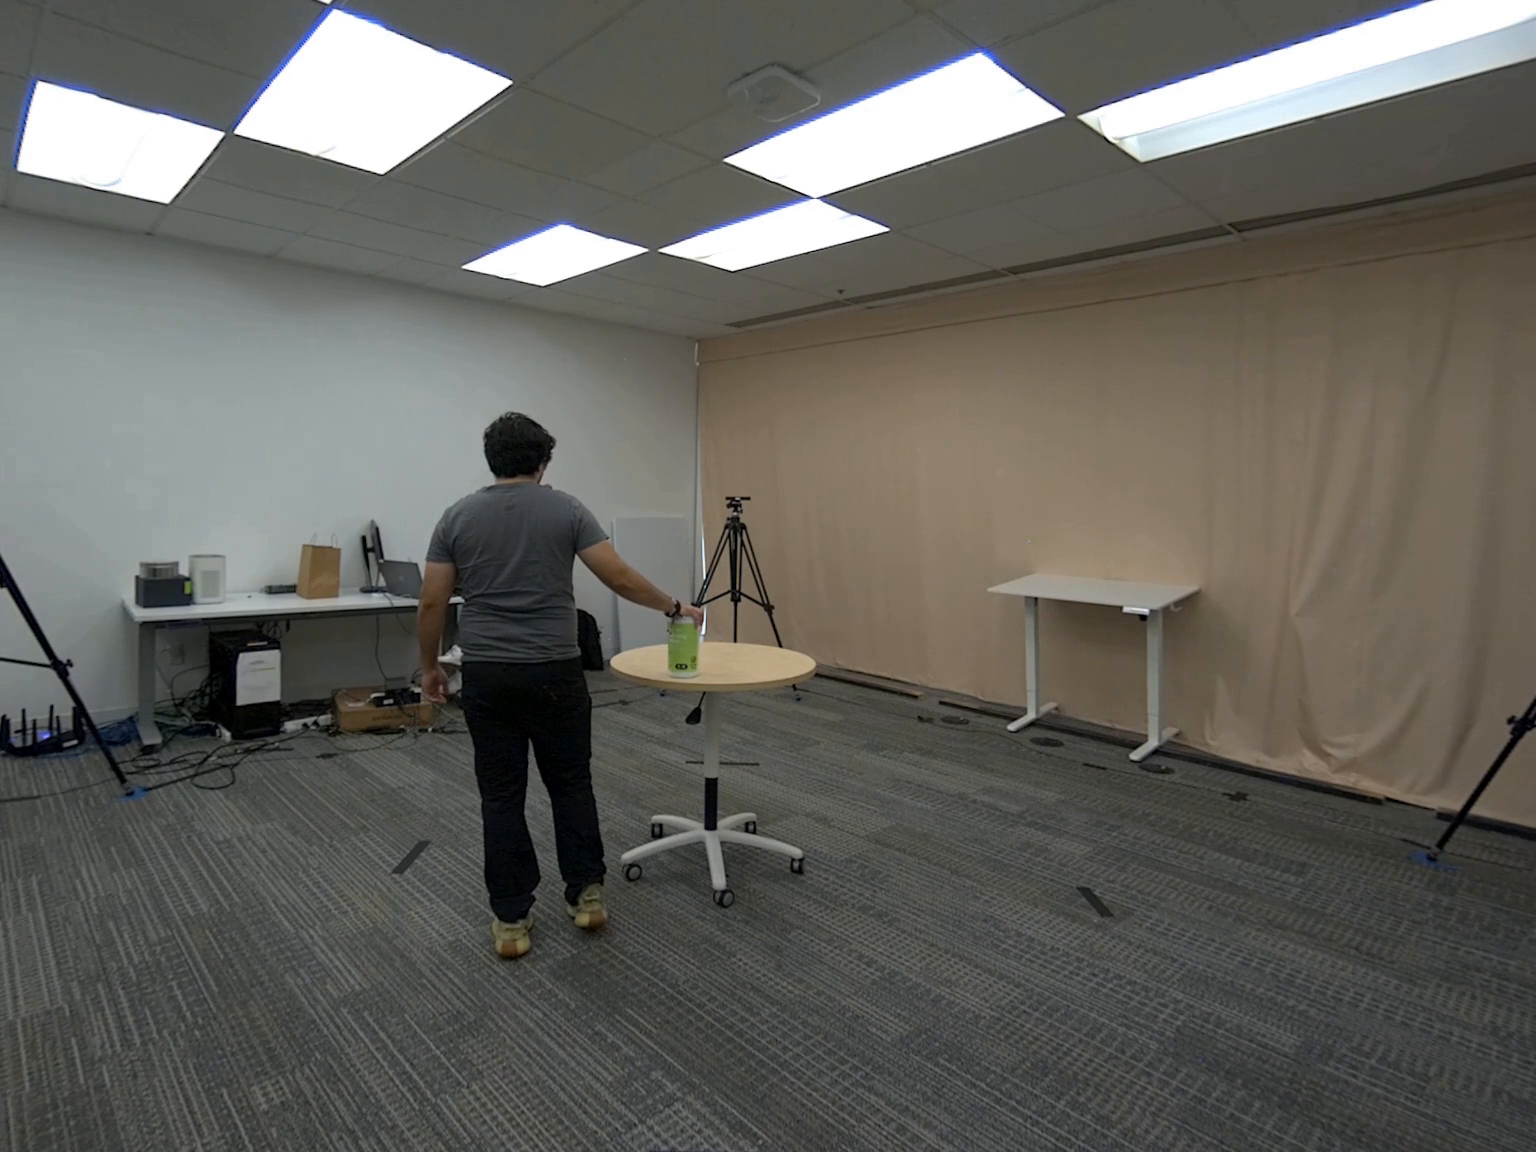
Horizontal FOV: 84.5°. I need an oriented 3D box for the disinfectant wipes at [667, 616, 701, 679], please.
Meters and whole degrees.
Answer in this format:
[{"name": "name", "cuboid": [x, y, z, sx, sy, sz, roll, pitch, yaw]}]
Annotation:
[{"name": "disinfectant wipes", "cuboid": [-0.295, 0.237, 2.887, 0.118, 0.216, 0.118, 1, 7, -1]}]
